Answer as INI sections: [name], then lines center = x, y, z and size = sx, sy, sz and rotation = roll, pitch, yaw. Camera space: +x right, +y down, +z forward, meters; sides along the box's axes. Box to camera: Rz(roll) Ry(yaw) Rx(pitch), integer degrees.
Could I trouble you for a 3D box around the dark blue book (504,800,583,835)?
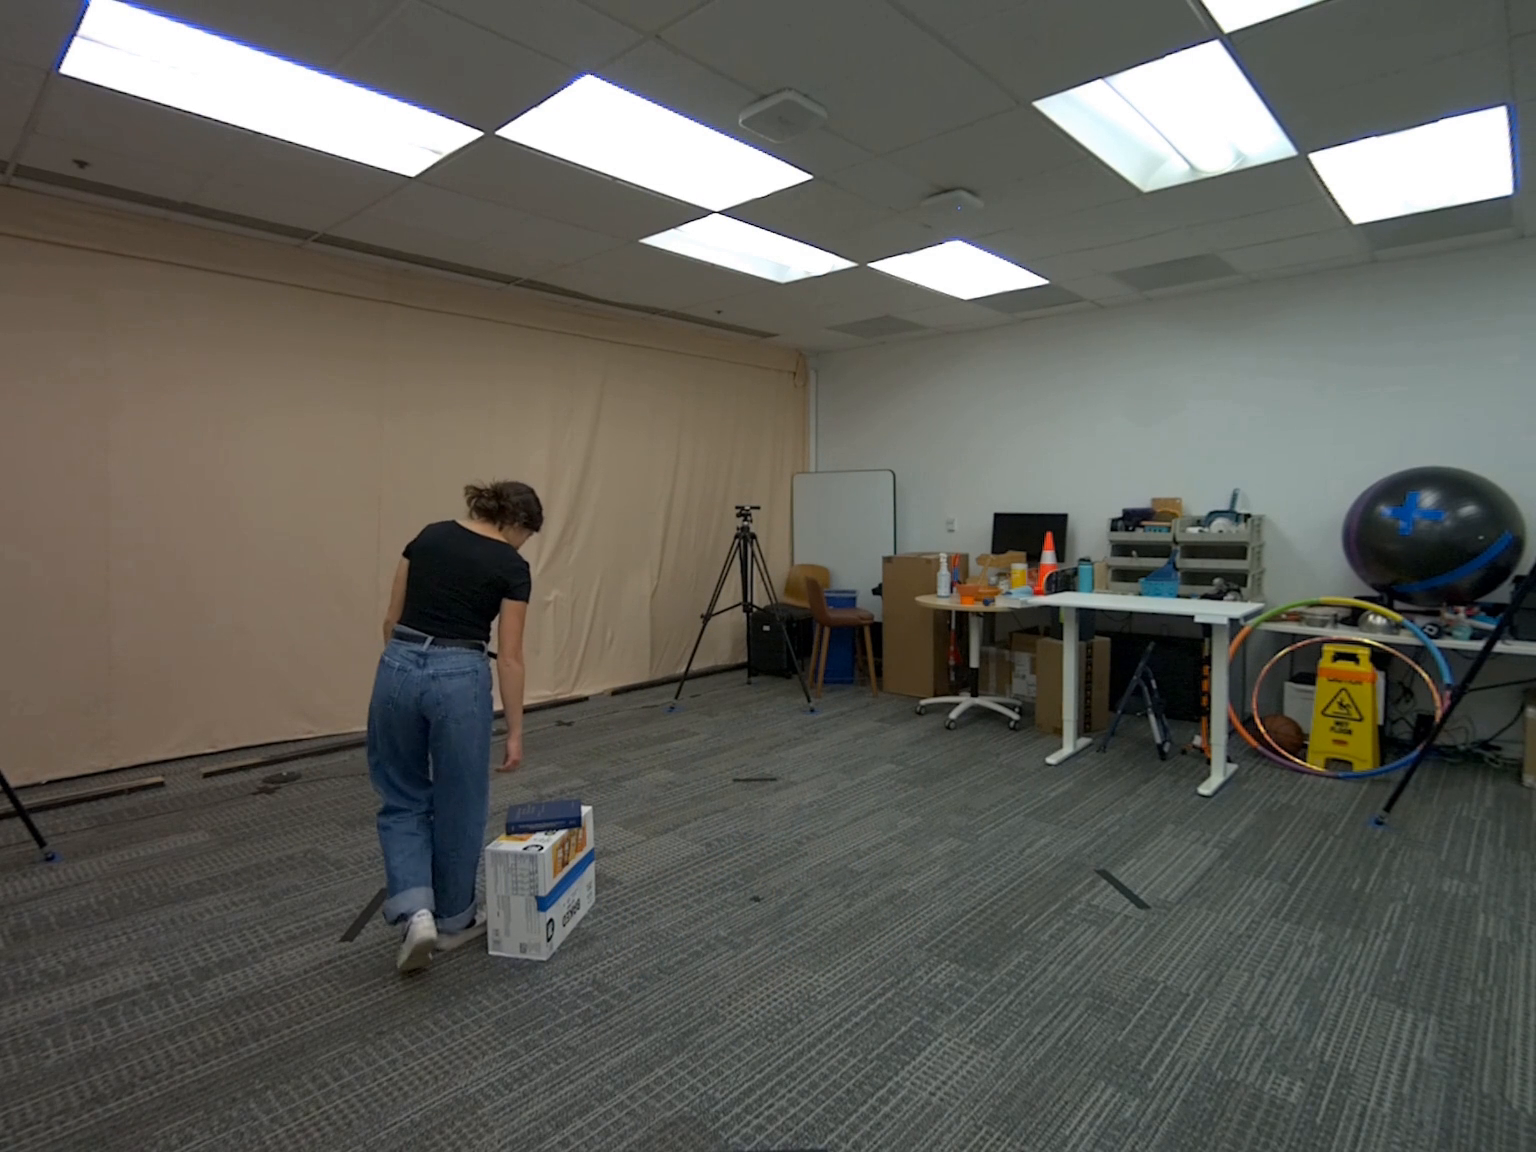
[dark blue book]
center = -0.754, 0.805, 2.816
size = 0.242, 0.045, 0.165
rotation = -2, 5, -10
